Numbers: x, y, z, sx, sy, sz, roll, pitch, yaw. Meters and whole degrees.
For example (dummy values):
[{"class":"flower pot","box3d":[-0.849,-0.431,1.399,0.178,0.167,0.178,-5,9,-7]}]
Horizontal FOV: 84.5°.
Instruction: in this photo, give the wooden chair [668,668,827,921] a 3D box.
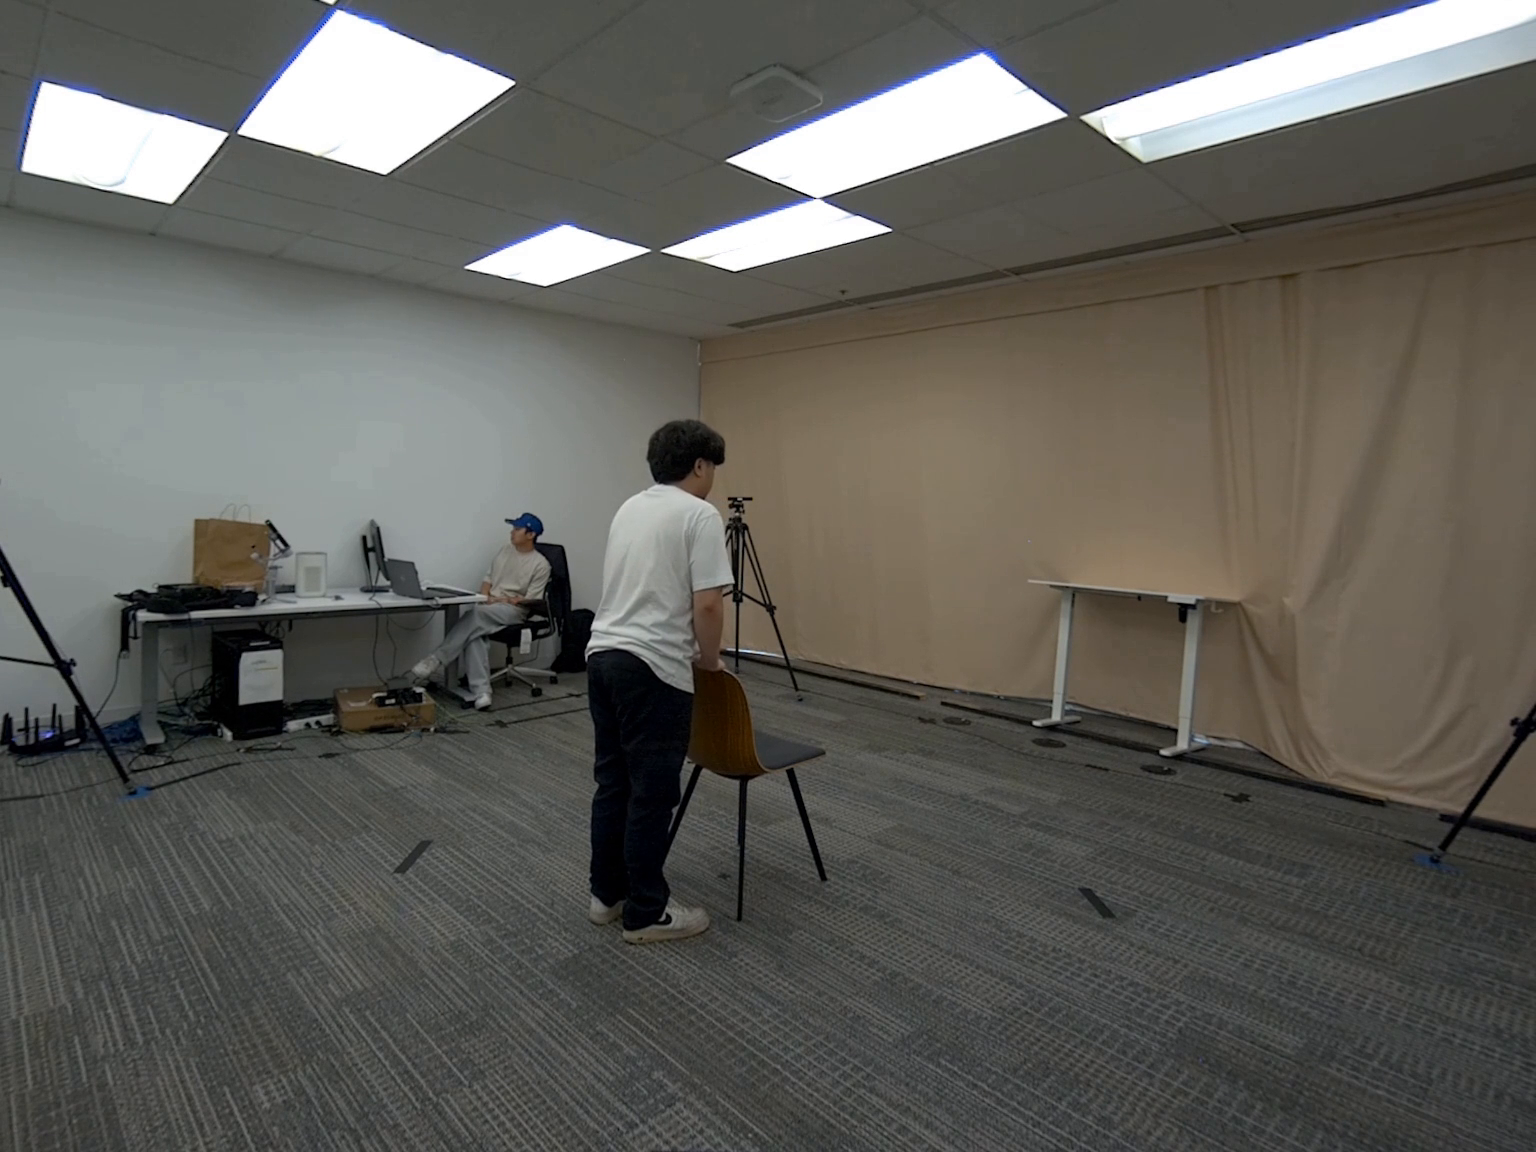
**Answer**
[{"class":"wooden chair","box3d":[-0.092,0.688,3.064,0.490,0.873,0.512,4,8,44]}]
